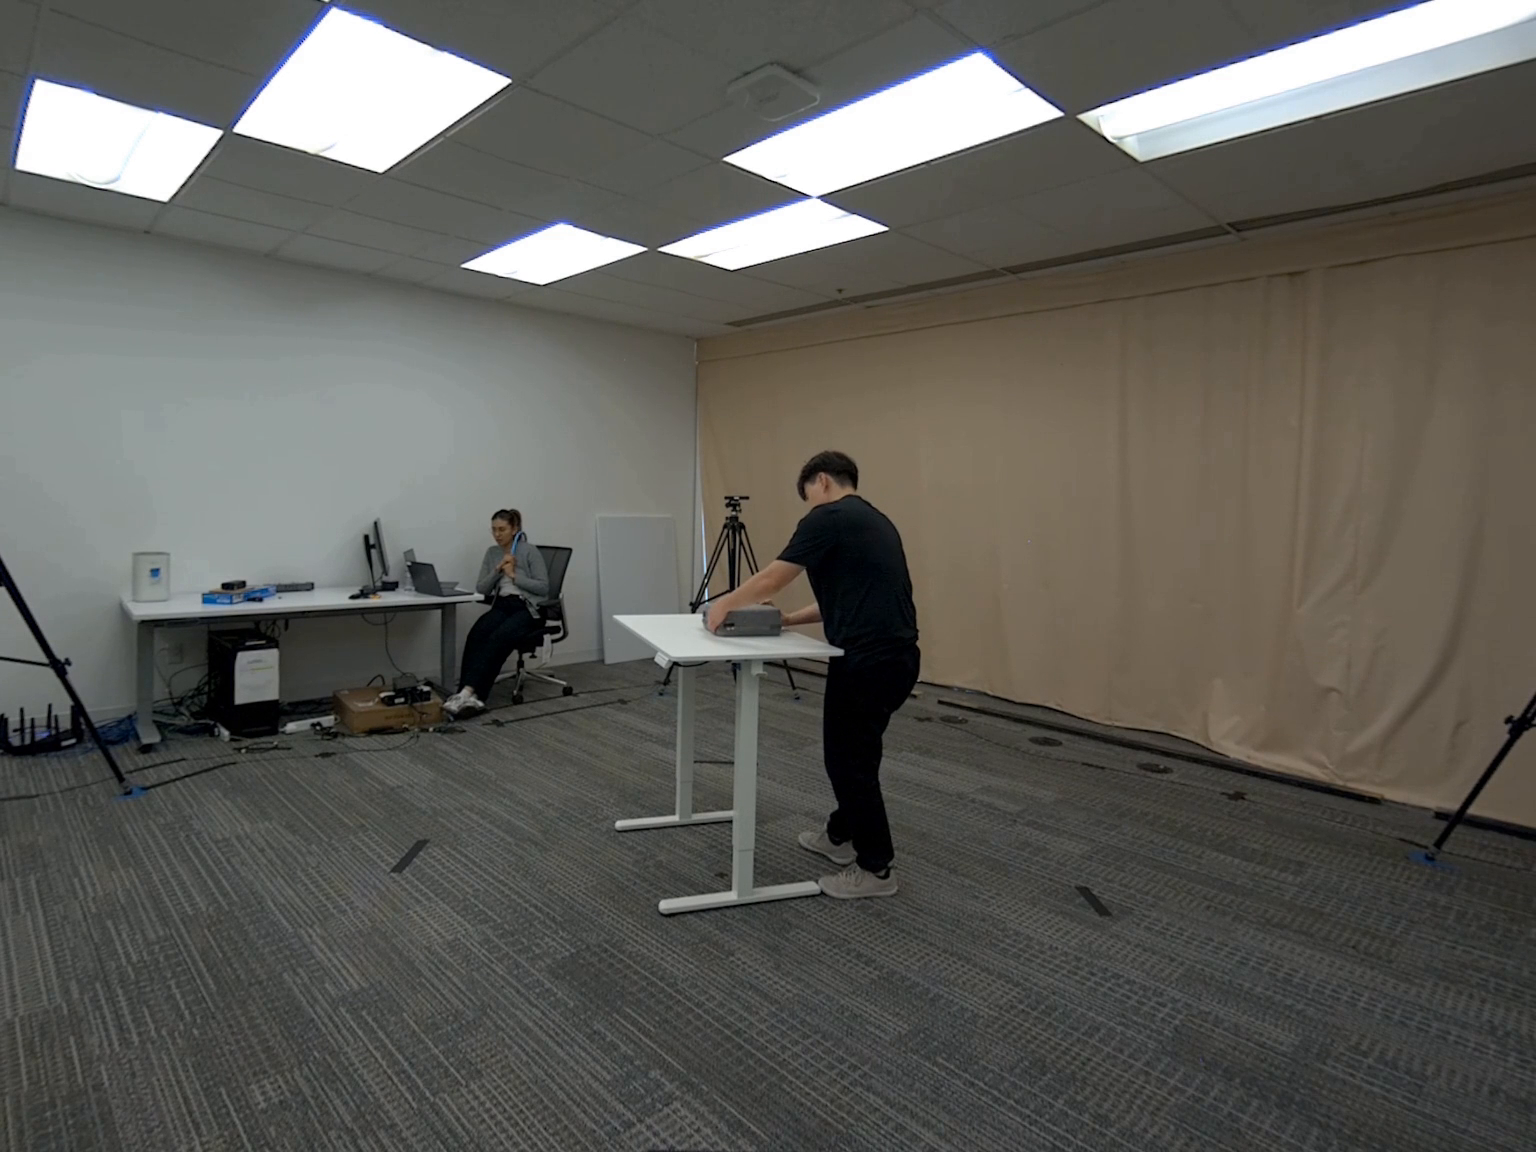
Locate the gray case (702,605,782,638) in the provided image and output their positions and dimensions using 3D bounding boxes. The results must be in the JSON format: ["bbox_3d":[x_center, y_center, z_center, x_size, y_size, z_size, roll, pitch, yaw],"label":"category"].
[{"bbox_3d":[-0.106,0.161,3.210,0.254,0.104,0.265,-1,6,-16],"label":"gray case"}]
